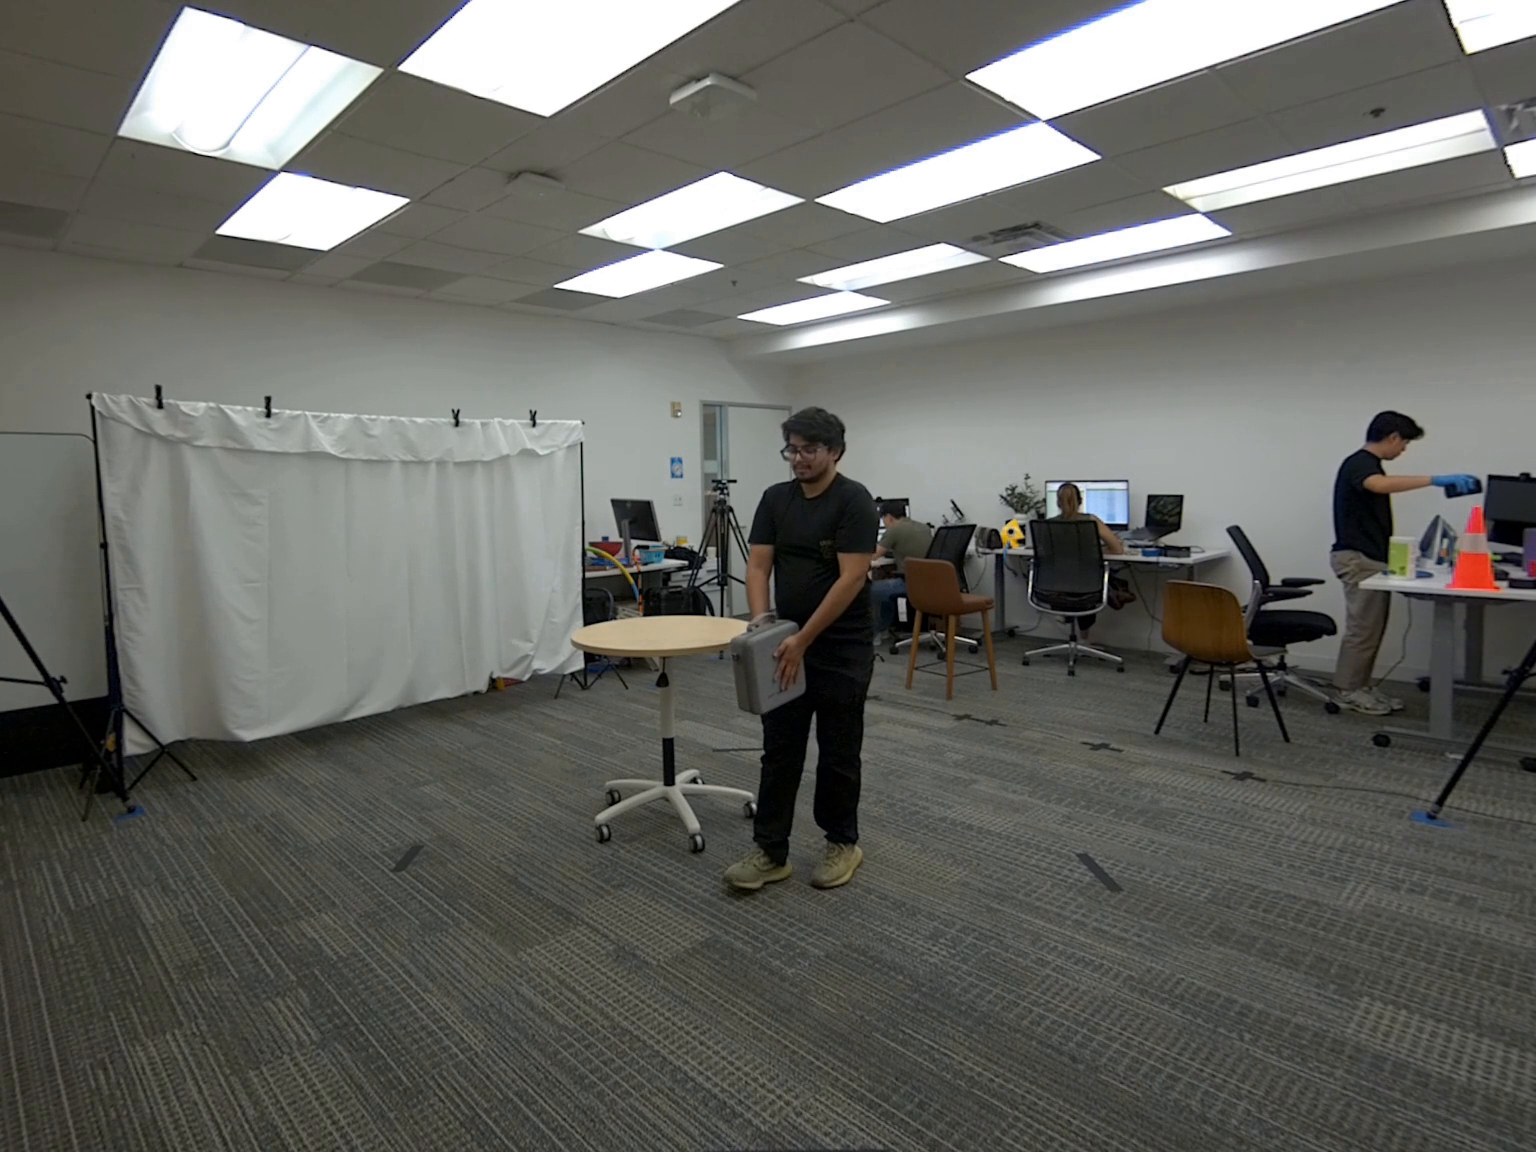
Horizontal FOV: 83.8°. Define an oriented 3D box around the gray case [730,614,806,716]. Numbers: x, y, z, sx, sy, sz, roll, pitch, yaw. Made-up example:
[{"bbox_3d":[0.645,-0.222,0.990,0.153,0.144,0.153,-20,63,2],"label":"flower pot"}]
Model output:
[{"bbox_3d":[-0.008,0.289,2.742,0.107,0.259,0.251,-1,9,41],"label":"gray case"}]
